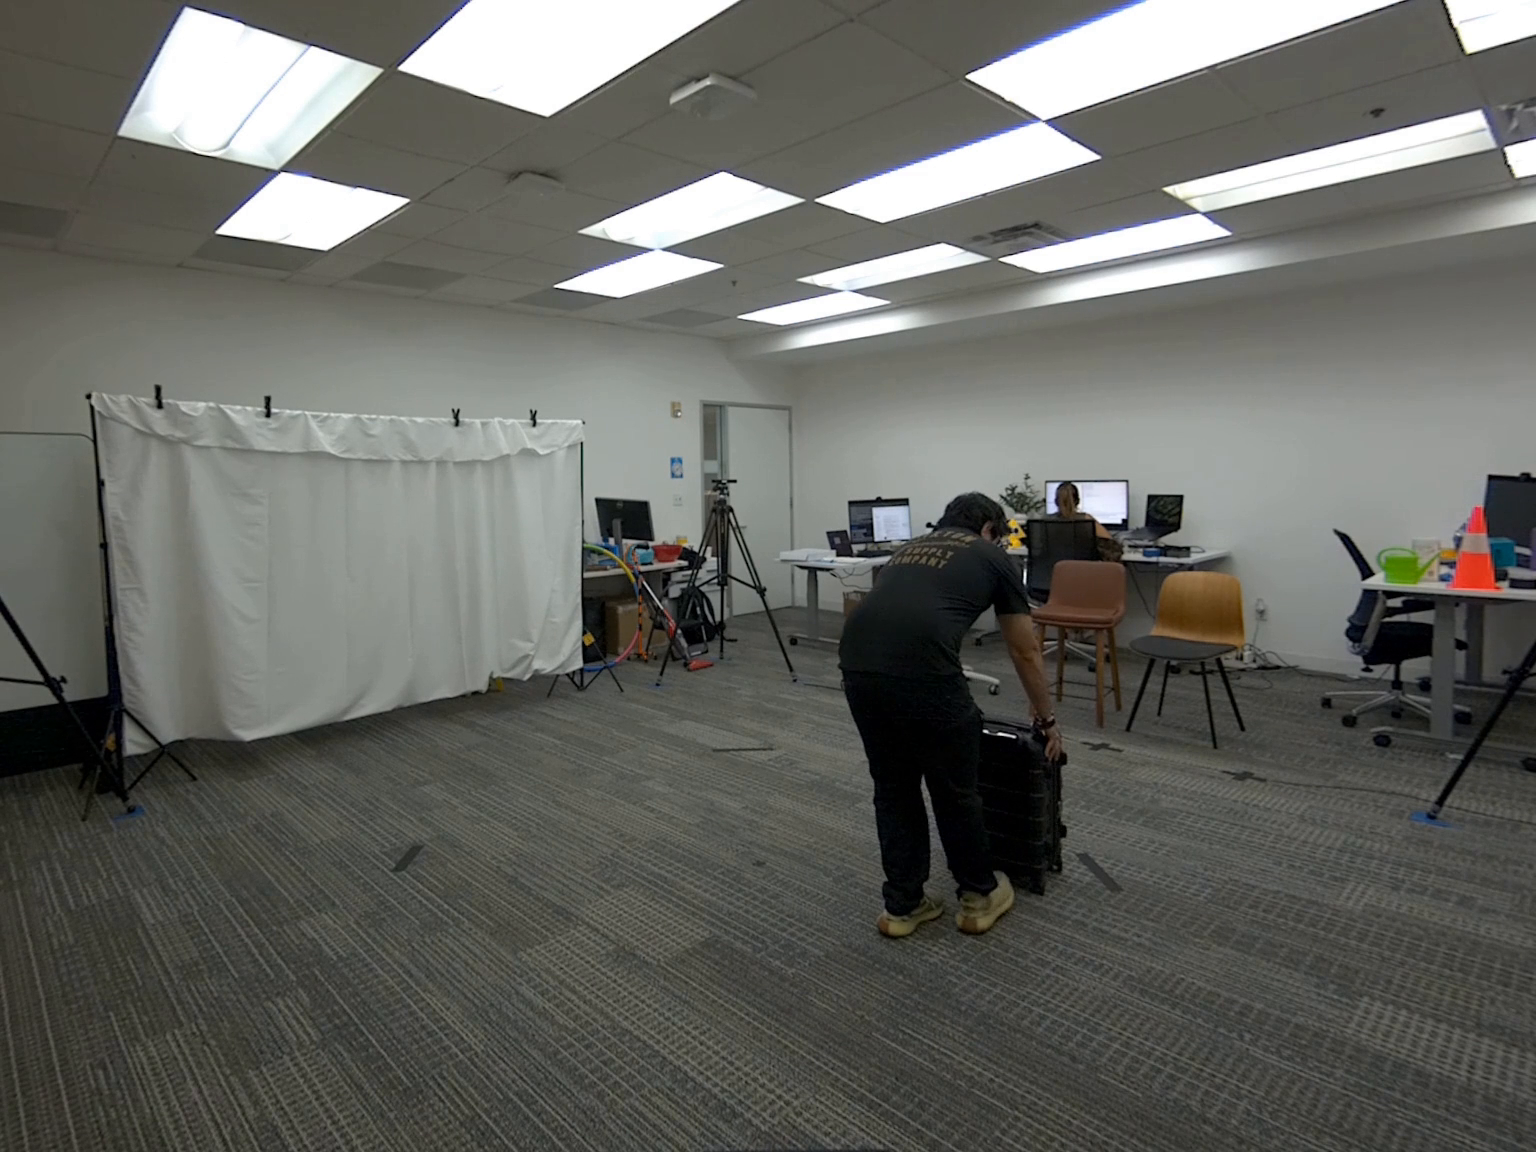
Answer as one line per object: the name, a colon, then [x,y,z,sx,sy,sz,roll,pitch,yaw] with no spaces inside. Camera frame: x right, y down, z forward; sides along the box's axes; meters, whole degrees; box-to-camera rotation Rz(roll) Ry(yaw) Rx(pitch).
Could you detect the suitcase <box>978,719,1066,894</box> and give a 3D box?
suitcase: [0.836,0.768,2.999,0.387,0.546,0.242,4,7,39]
